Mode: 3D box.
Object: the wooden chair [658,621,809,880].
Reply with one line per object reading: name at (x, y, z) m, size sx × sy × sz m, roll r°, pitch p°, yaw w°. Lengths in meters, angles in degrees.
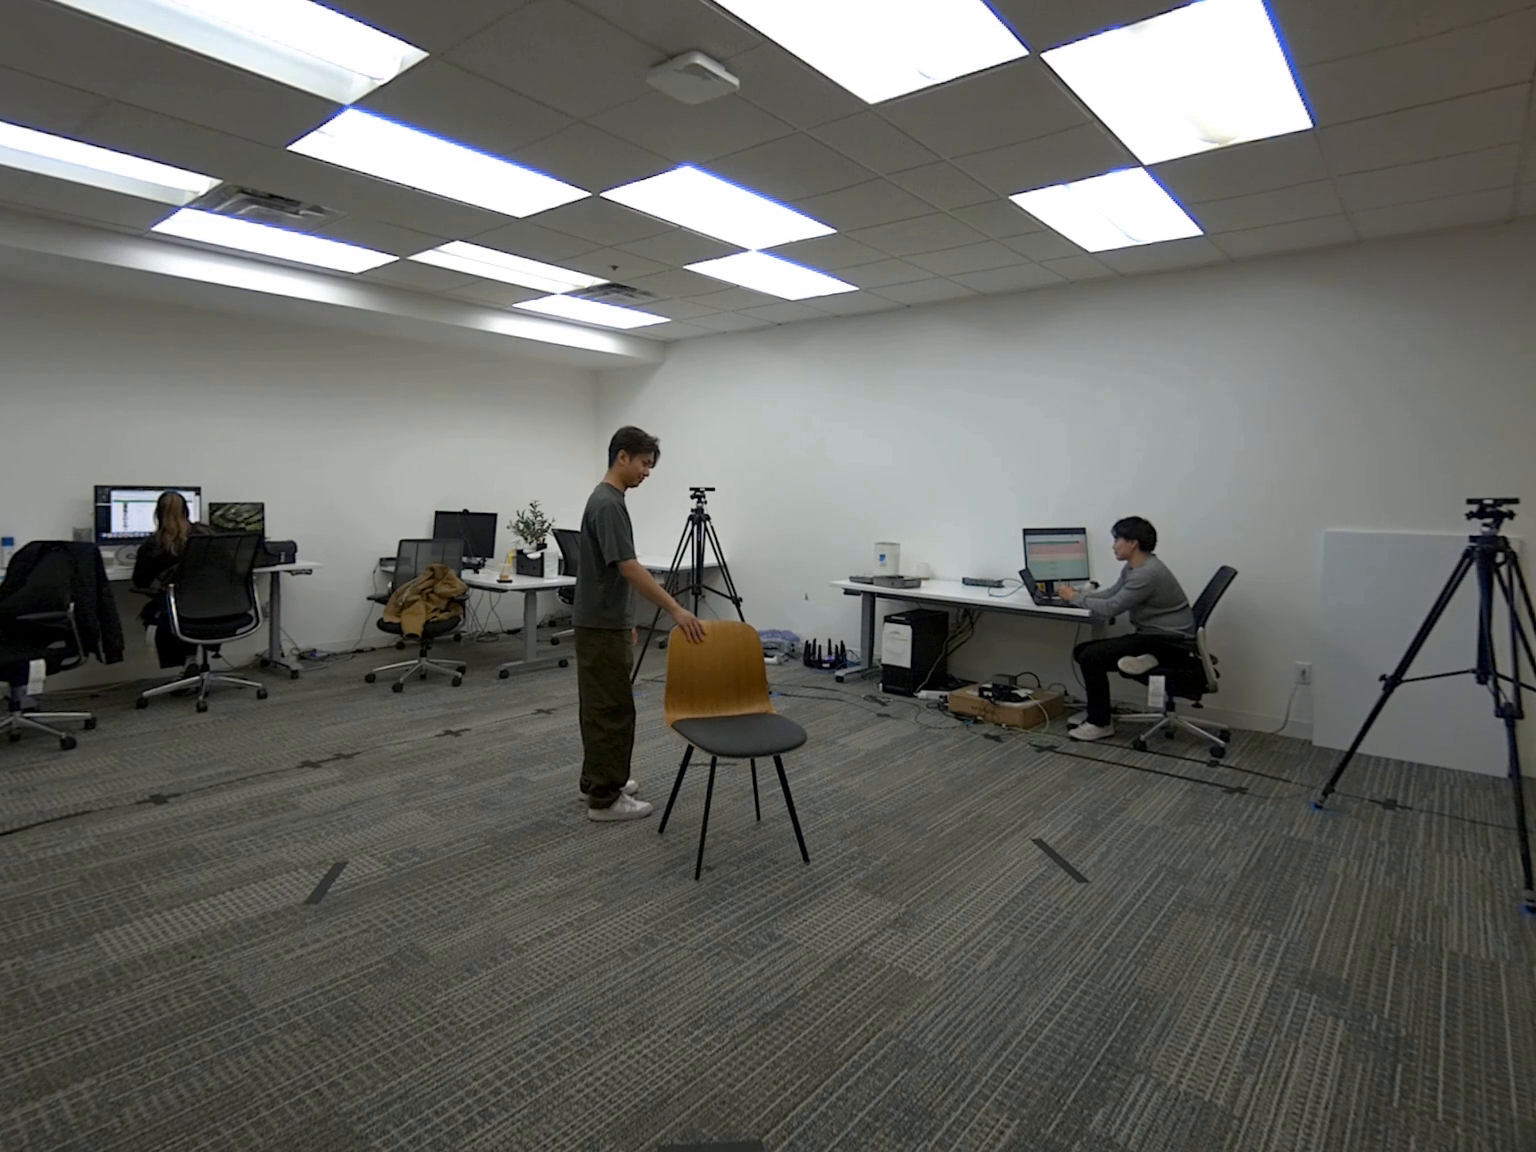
wooden chair at (-0.140, 0.625, 3.265) m, size 0.467 × 0.878 × 0.534 m, roll 0°, pitch -1°, yaw -23°
